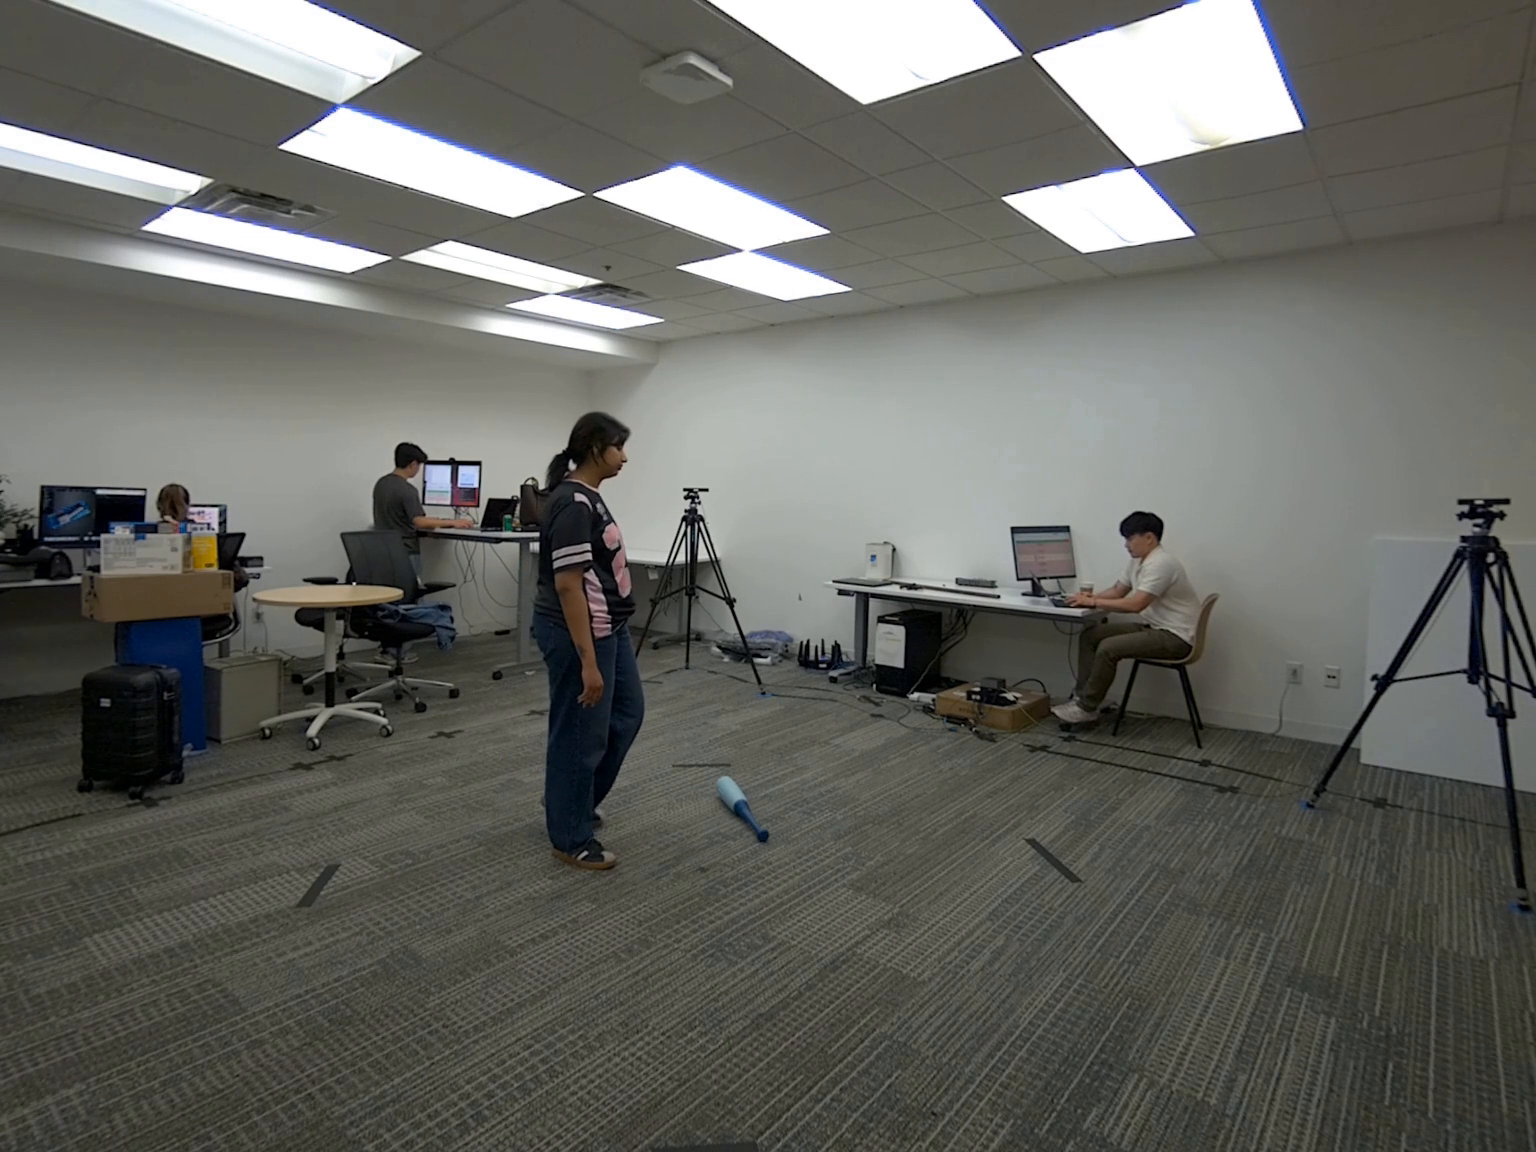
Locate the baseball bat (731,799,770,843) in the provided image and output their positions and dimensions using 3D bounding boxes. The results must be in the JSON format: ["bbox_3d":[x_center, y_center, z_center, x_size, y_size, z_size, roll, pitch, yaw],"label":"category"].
[{"bbox_3d":[-0.118,0.986,3.610,0.087,0.088,0.557,-1,9,-19],"label":"baseball bat"}]
